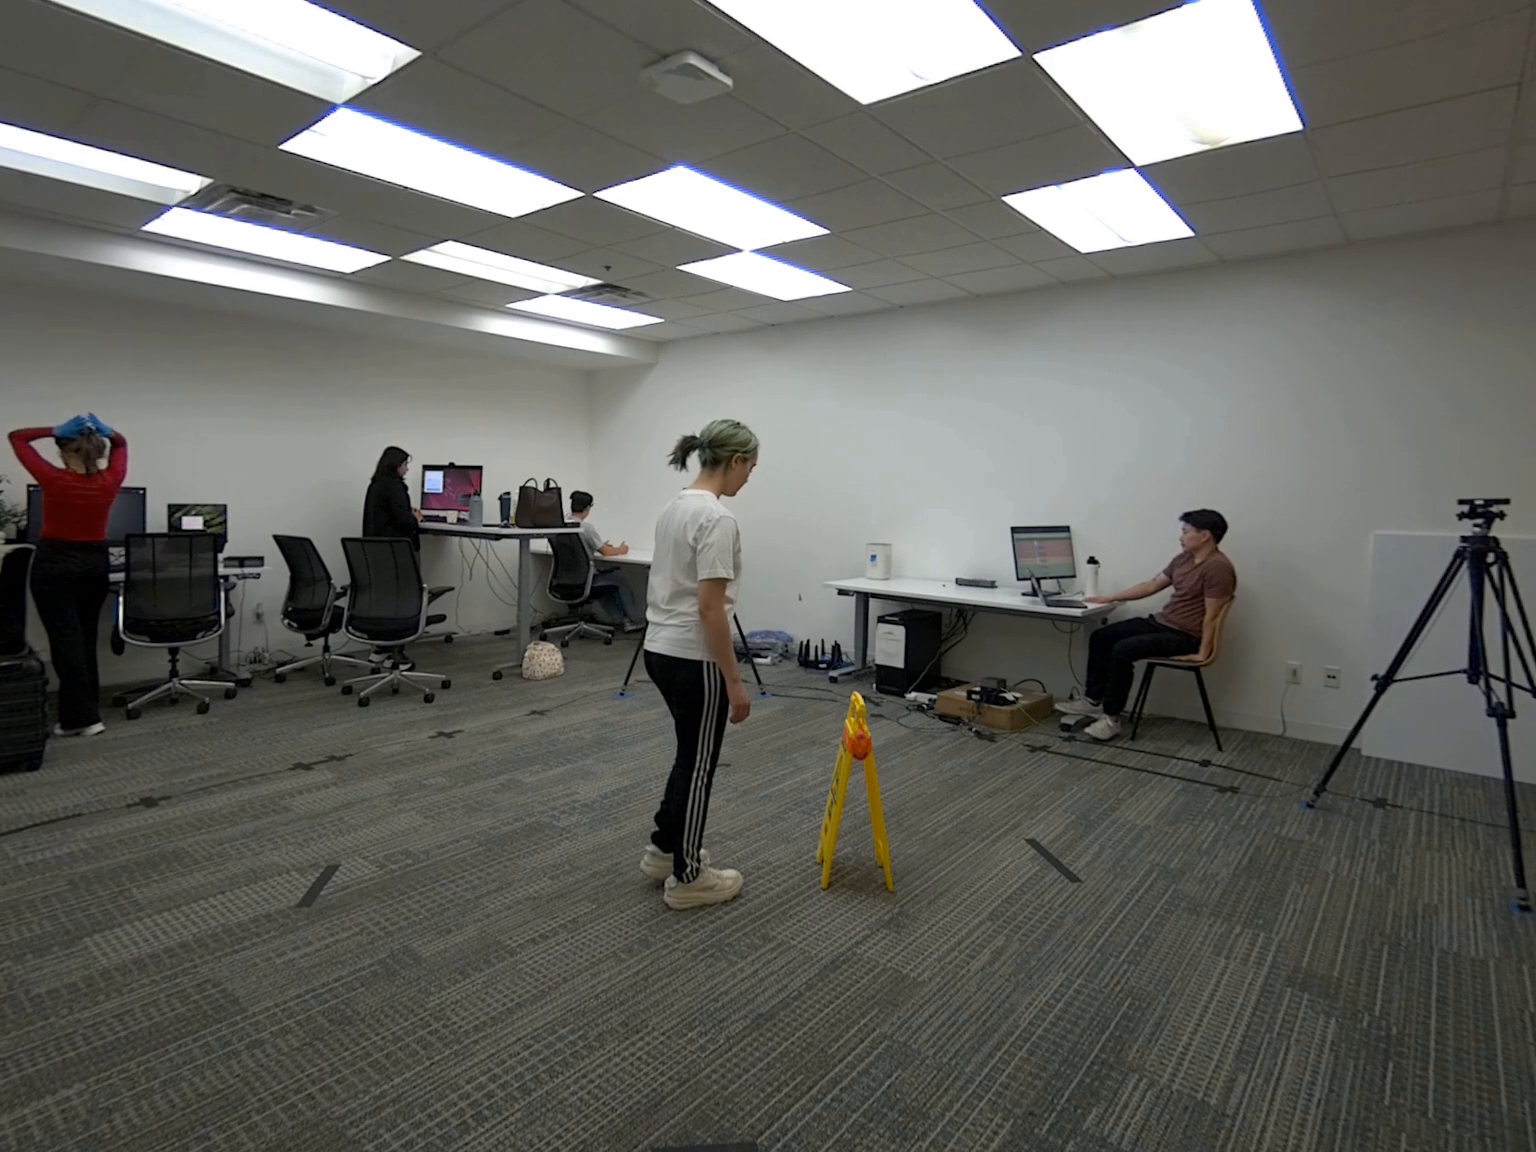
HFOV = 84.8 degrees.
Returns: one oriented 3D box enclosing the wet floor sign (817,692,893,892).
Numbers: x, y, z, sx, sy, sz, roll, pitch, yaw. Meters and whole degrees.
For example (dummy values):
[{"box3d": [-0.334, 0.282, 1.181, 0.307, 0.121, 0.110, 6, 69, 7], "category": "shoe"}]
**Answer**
[{"box3d": [0.313, 0.761, 3.070, 0.290, 0.644, 0.283, 2, 3, -1], "category": "wet floor sign"}]
